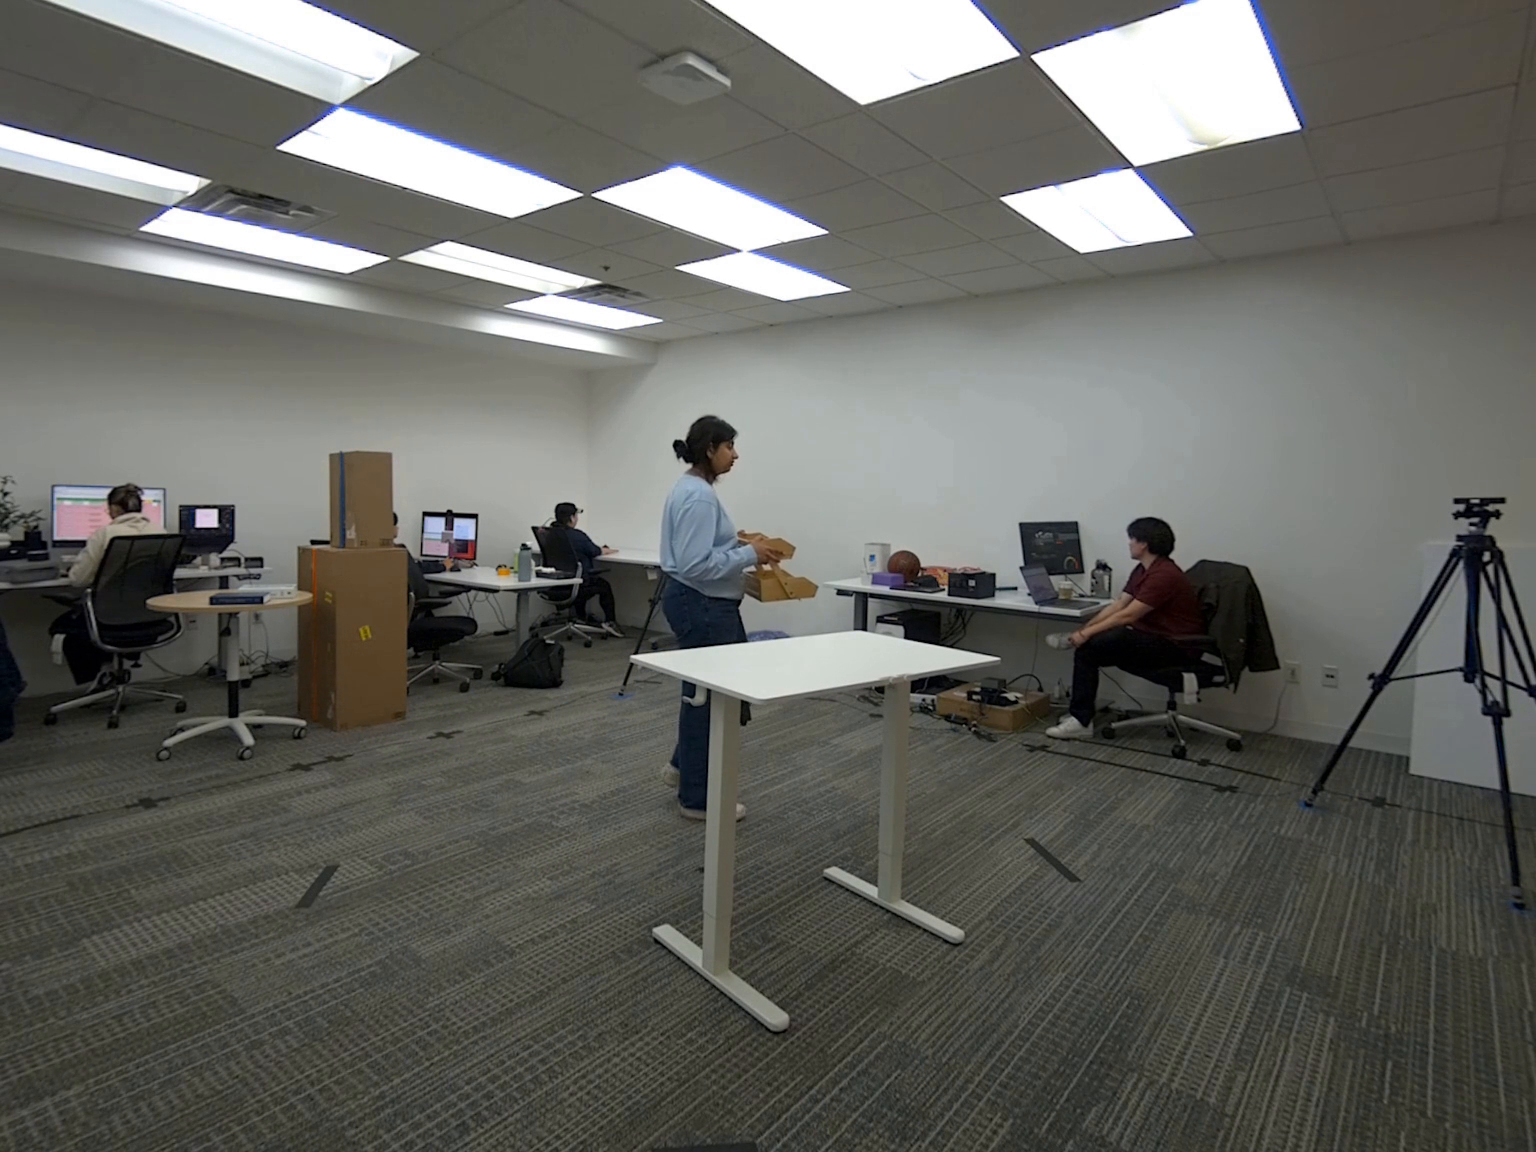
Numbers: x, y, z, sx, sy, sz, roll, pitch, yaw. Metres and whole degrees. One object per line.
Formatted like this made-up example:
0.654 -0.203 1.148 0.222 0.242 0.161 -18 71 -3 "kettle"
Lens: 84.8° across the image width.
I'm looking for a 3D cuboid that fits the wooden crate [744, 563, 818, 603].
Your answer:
0.008 -0.050 3.645 0.298 0.272 0.330 -4 6 -13 "wooden crate"
